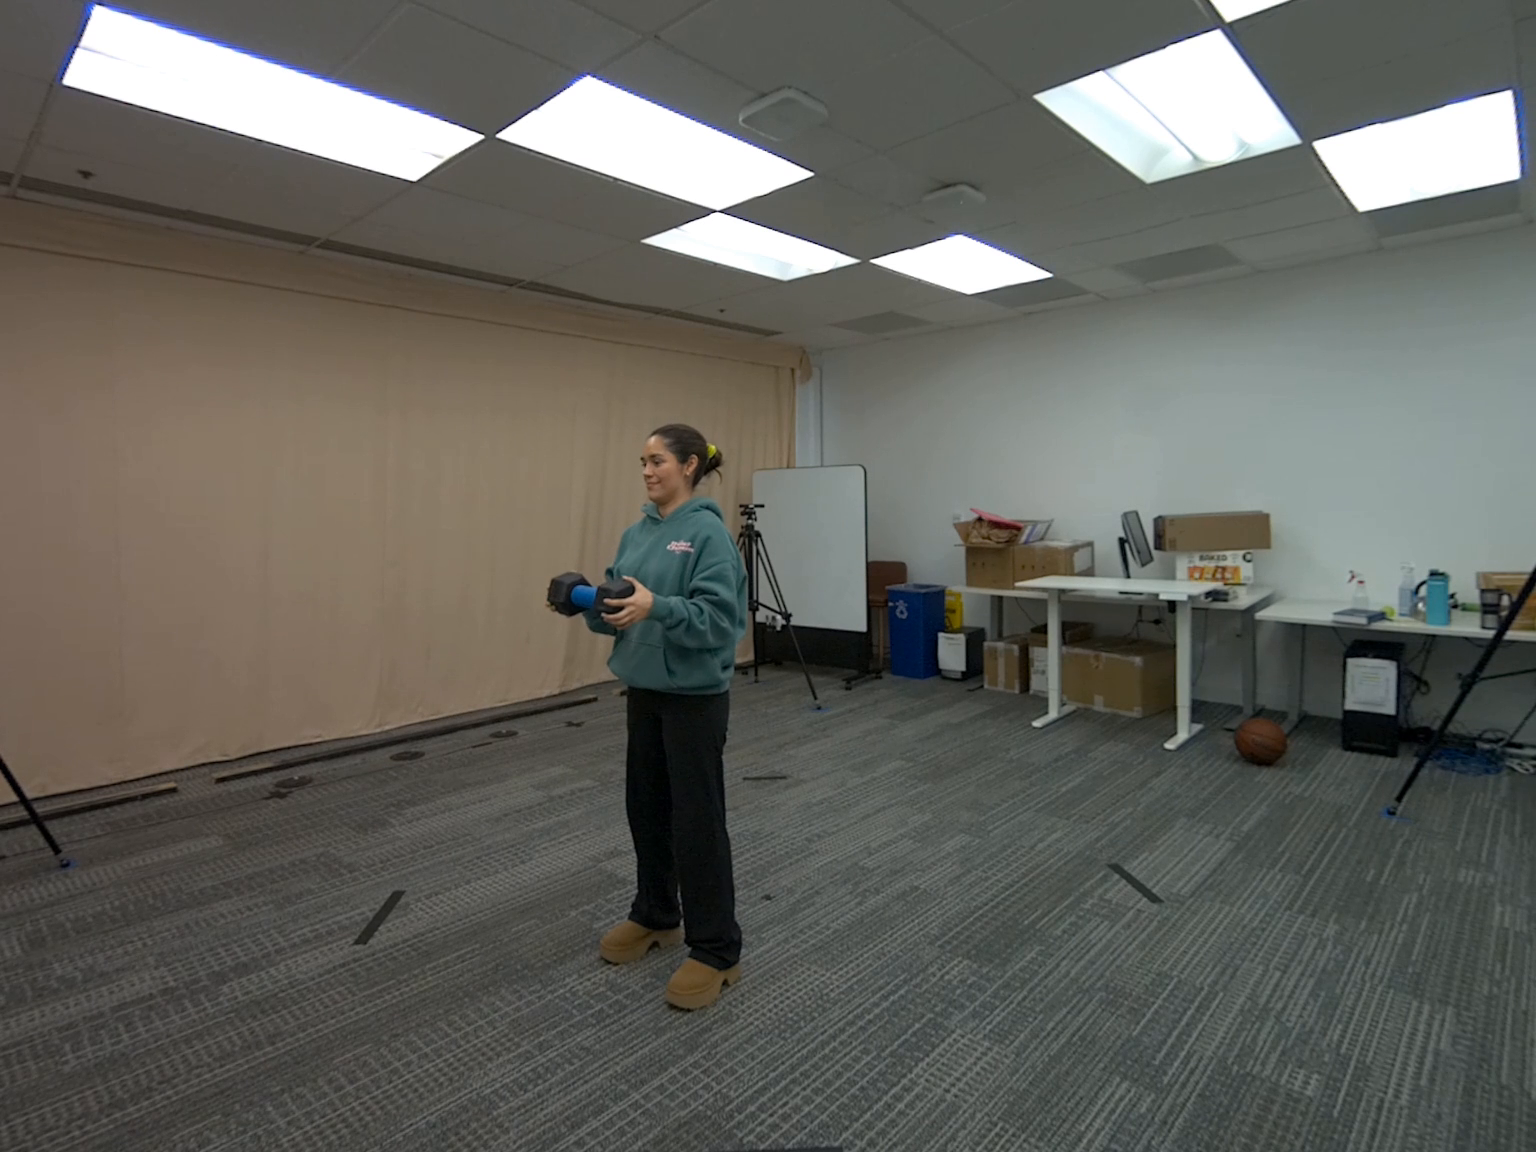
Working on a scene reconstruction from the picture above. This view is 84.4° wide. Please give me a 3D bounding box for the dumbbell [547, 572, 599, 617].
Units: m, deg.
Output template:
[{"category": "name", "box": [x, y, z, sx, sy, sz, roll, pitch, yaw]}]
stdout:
[{"category": "dumbbell", "box": [-0.464, 0.062, 2.303, 0.304, 0.107, 0.120, 7, 25, 45]}]
